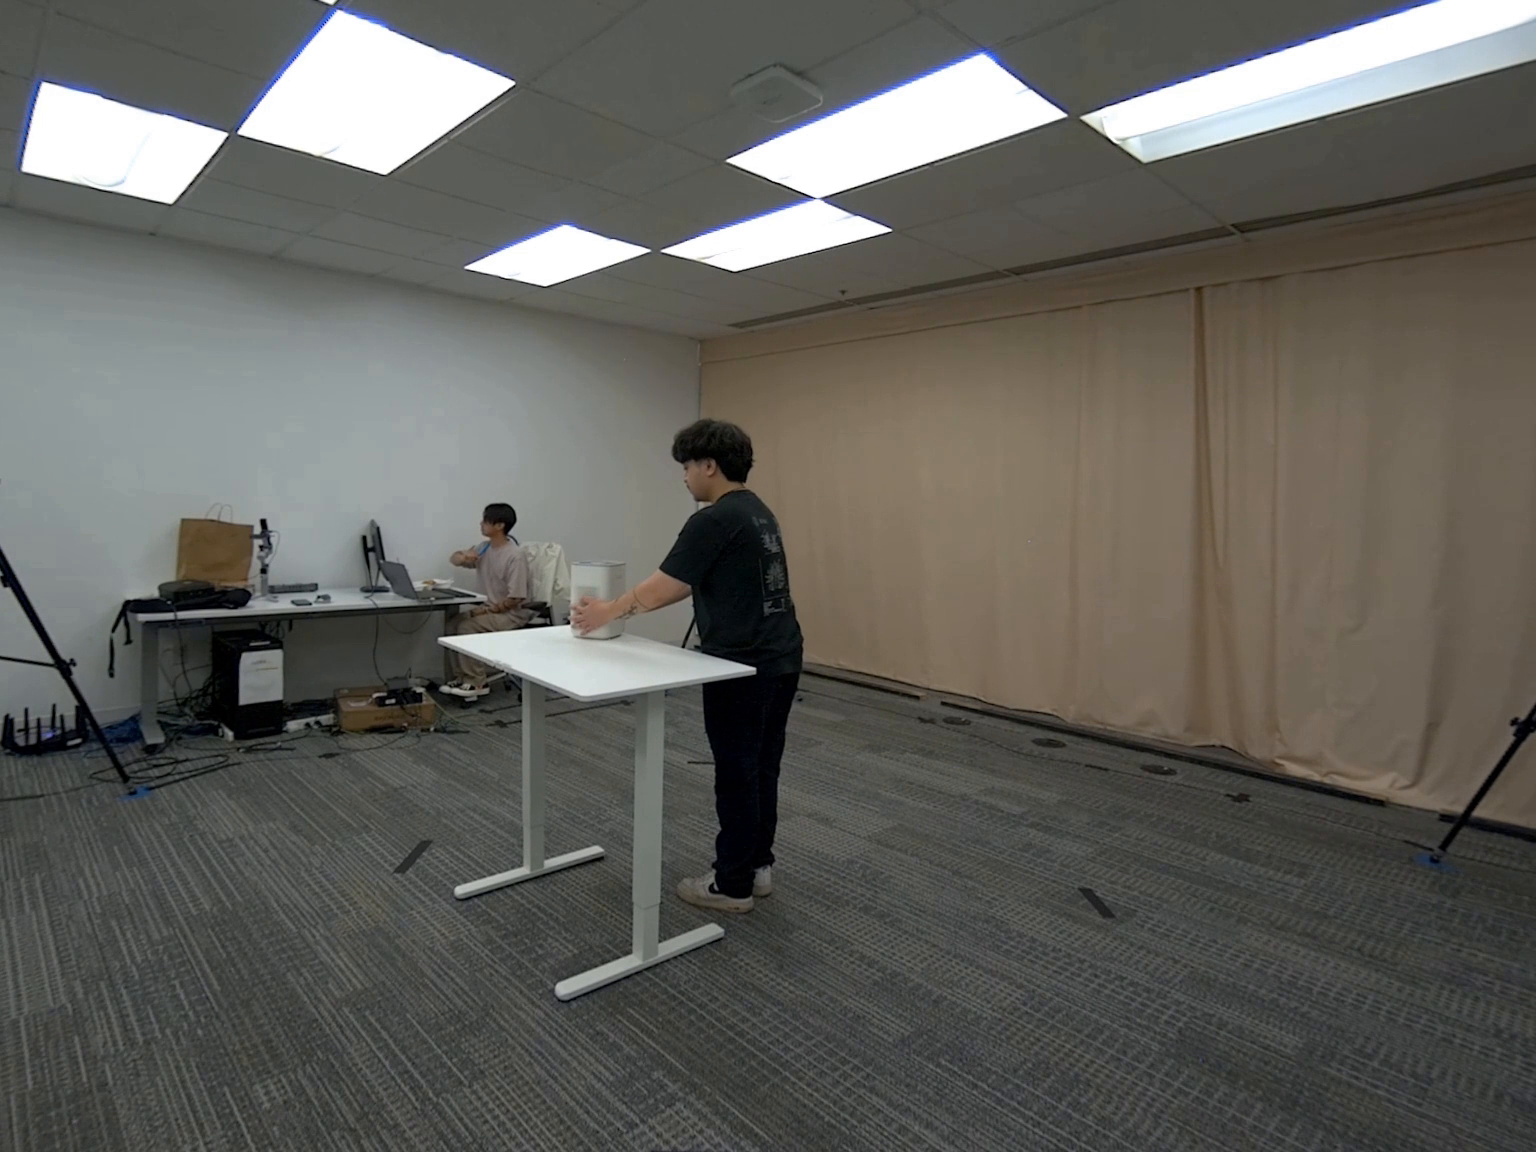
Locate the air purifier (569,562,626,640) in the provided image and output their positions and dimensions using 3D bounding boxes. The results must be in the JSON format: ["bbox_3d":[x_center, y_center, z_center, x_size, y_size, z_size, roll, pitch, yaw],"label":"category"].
[{"bbox_3d":[-0.613,0.086,3.028,0.174,0.264,0.169,3,5,17],"label":"air purifier"}]
